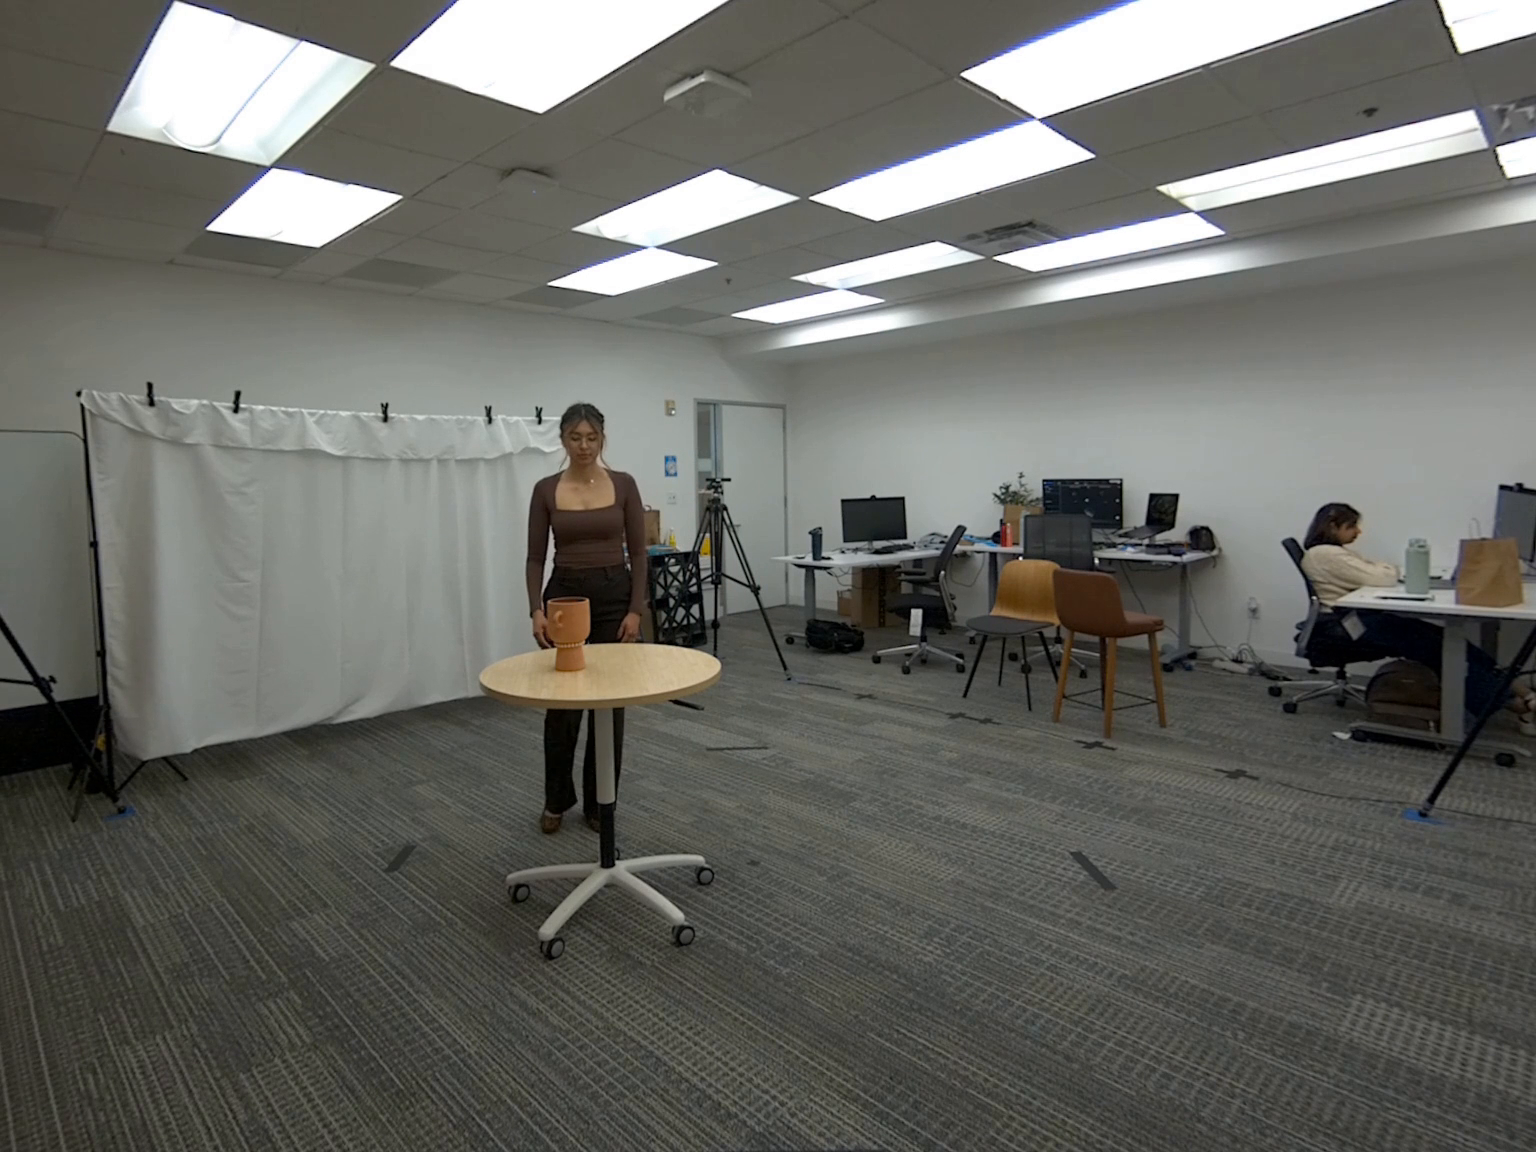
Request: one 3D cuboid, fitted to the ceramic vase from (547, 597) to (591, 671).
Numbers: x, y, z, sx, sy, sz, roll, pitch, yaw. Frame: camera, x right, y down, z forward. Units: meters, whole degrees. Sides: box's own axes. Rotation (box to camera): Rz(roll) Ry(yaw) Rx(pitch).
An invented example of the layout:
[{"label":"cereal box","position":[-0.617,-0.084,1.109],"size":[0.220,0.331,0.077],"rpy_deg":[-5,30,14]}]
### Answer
[{"label":"ceramic vase","position":[-0.643,0.192,2.737],"size":[0.155,0.219,0.139],"rpy_deg":[-5,6,-38]}]
